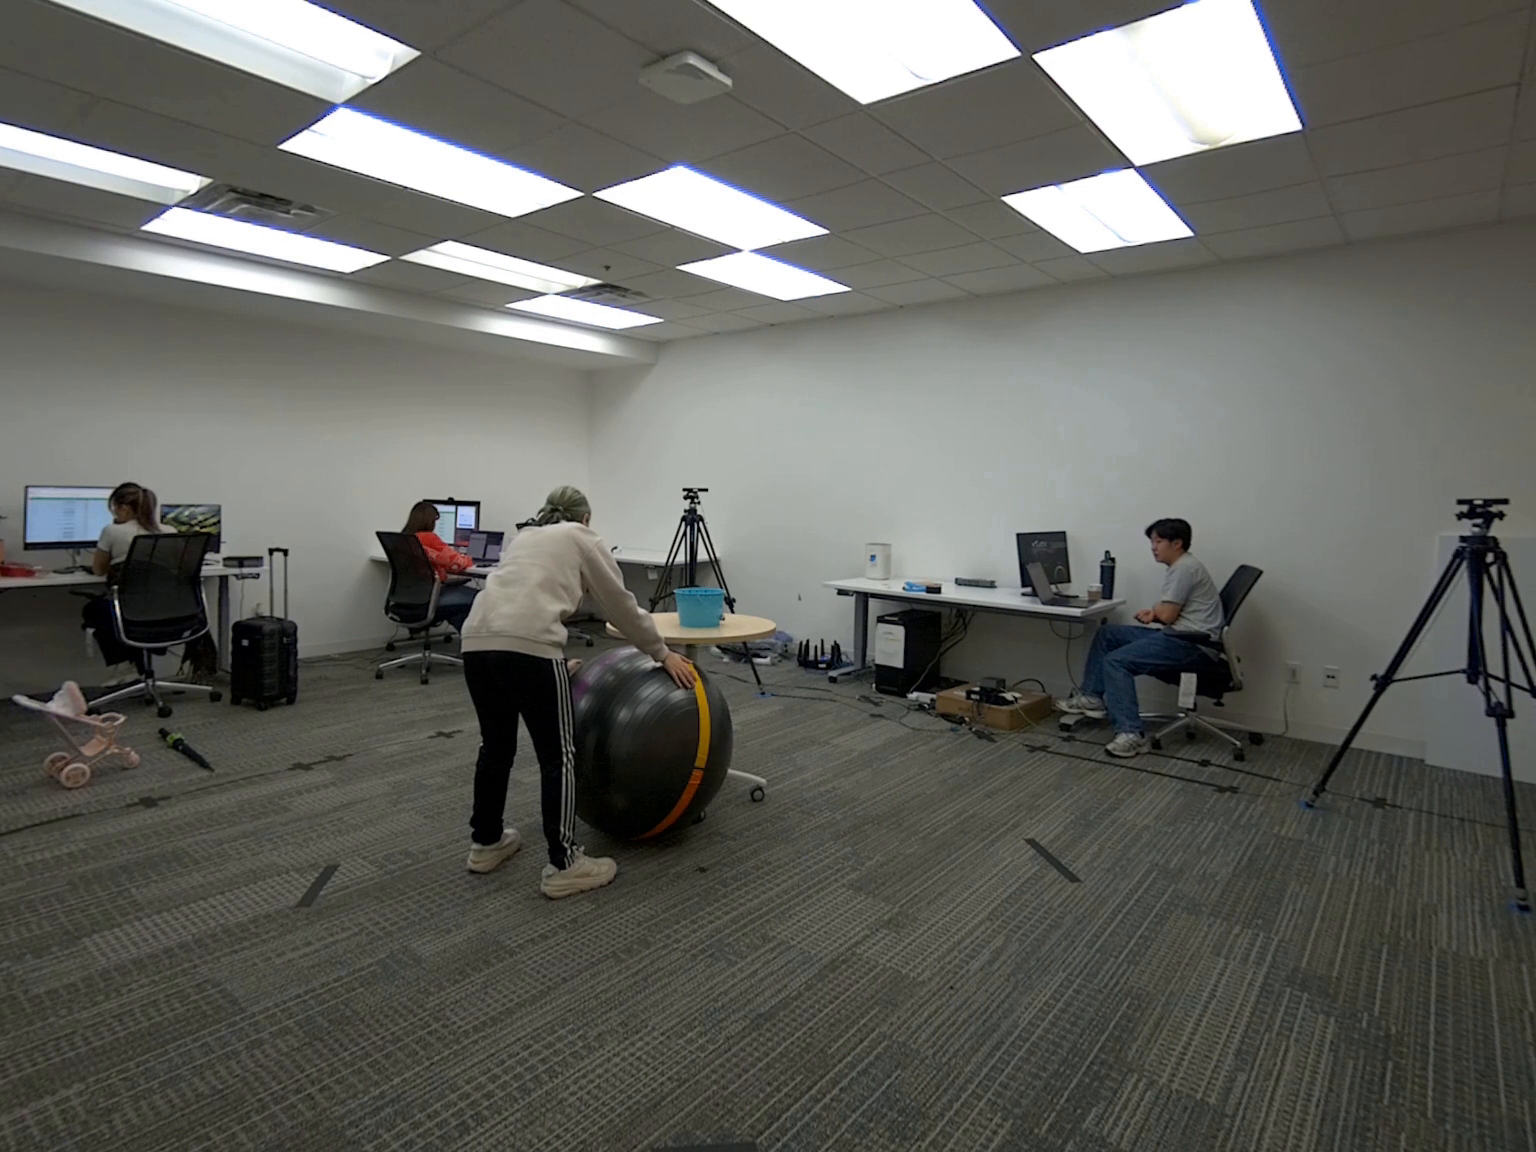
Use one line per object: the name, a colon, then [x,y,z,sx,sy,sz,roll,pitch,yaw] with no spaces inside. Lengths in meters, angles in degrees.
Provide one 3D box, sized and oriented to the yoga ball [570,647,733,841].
yoga ball: [-0.530,0.660,3.438,0.757,0.756,0.761,1,4,-2]
